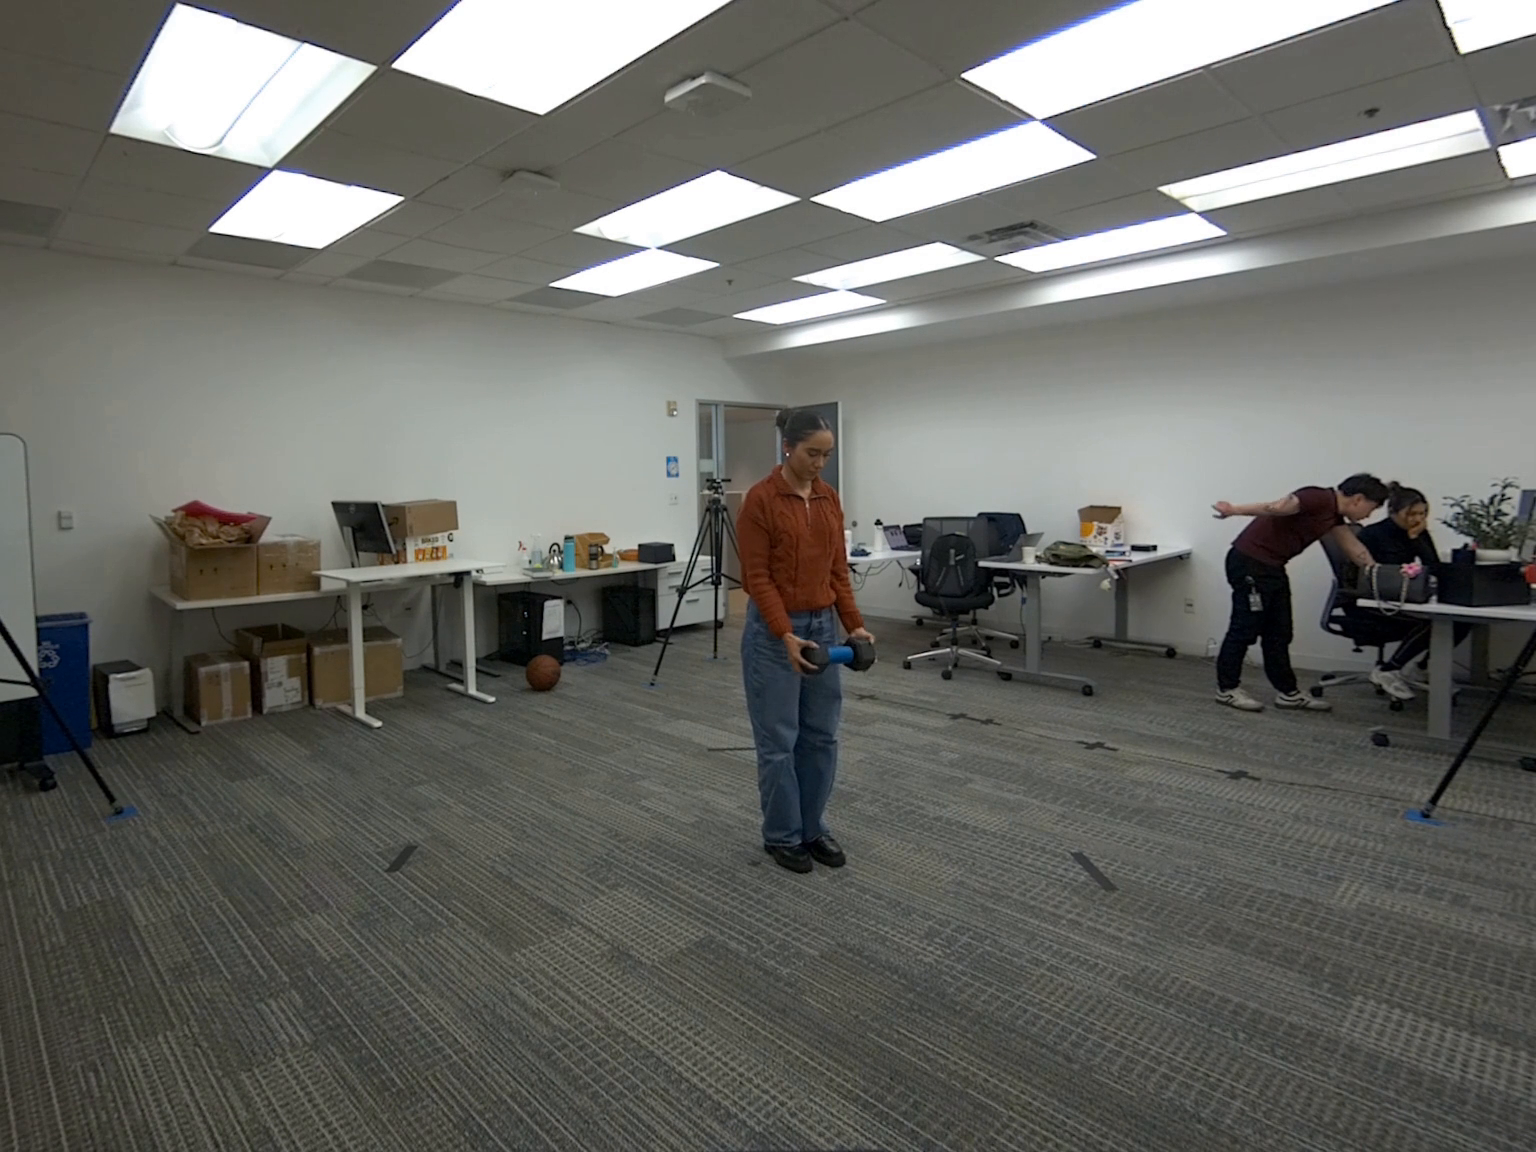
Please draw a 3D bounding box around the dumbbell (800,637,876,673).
[{"bbox_3d":[0.221,0.267,2.973,0.286,0.125,0.110,0,-14,-32],"label":"dumbbell"}]
